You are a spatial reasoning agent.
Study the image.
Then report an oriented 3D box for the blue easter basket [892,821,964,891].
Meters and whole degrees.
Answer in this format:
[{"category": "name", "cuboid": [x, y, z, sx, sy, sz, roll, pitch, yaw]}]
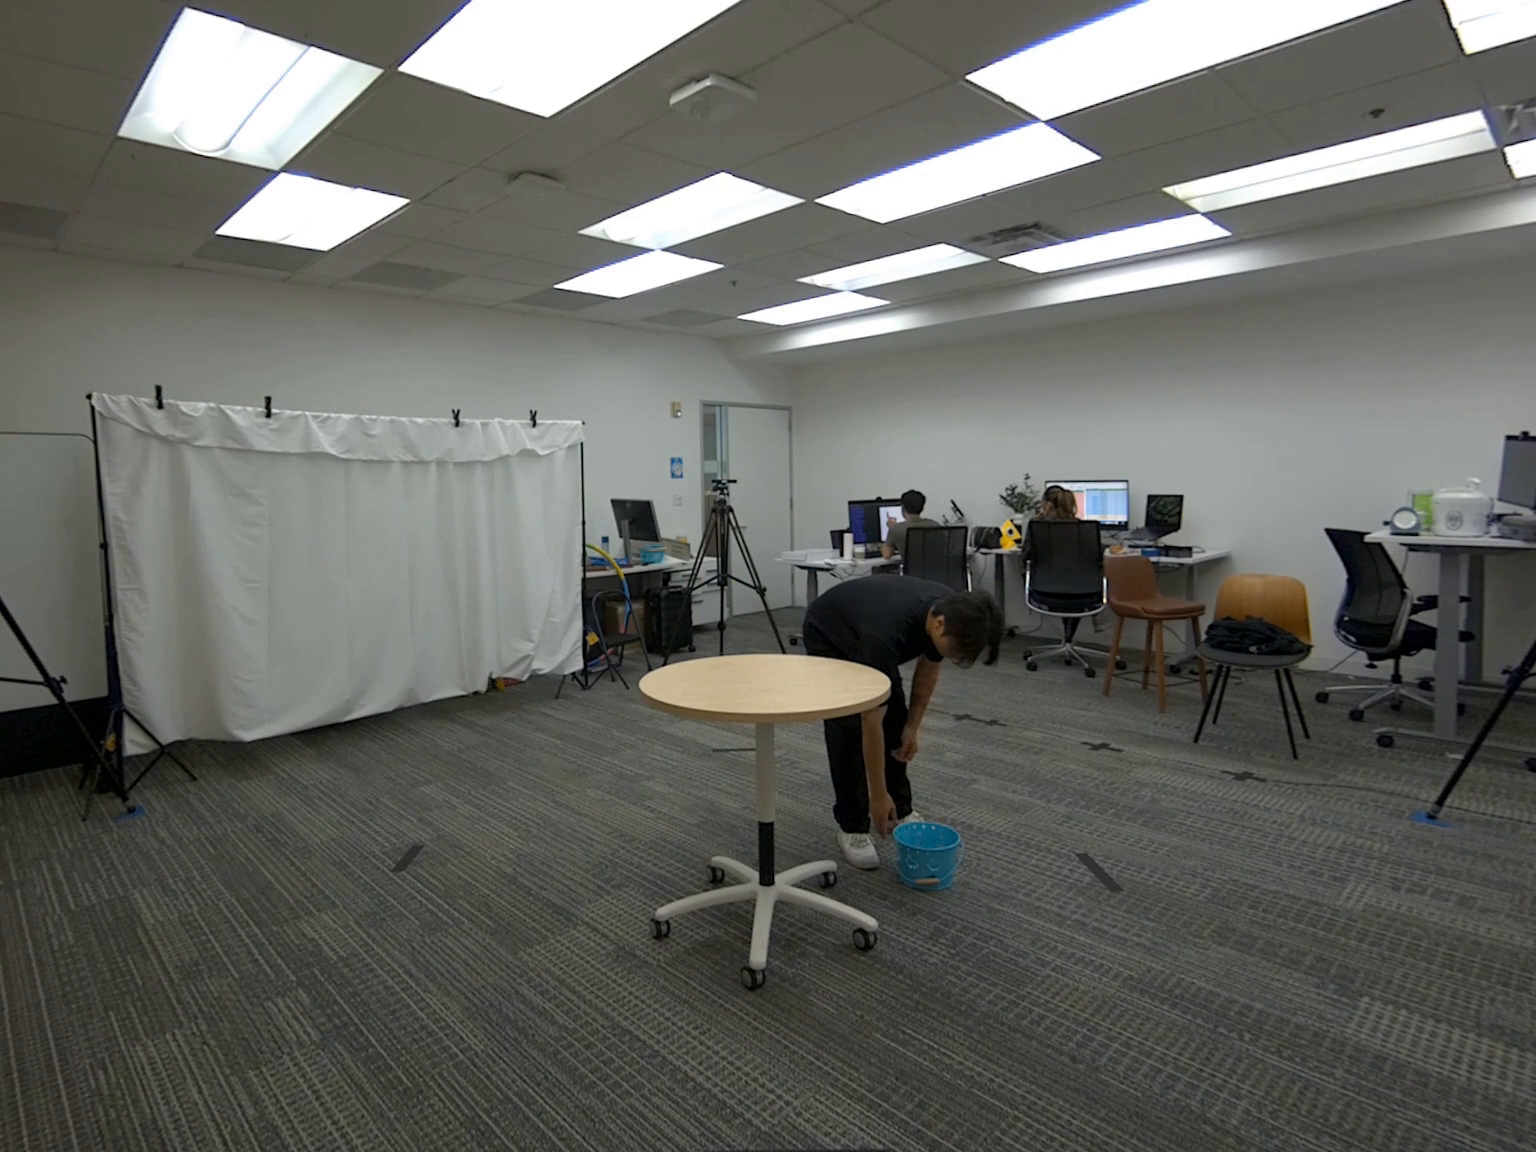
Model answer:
[{"category": "blue easter basket", "cuboid": [0.548, 0.975, 2.967, 0.243, 0.155, 0.245, -3, 6, -1]}]
